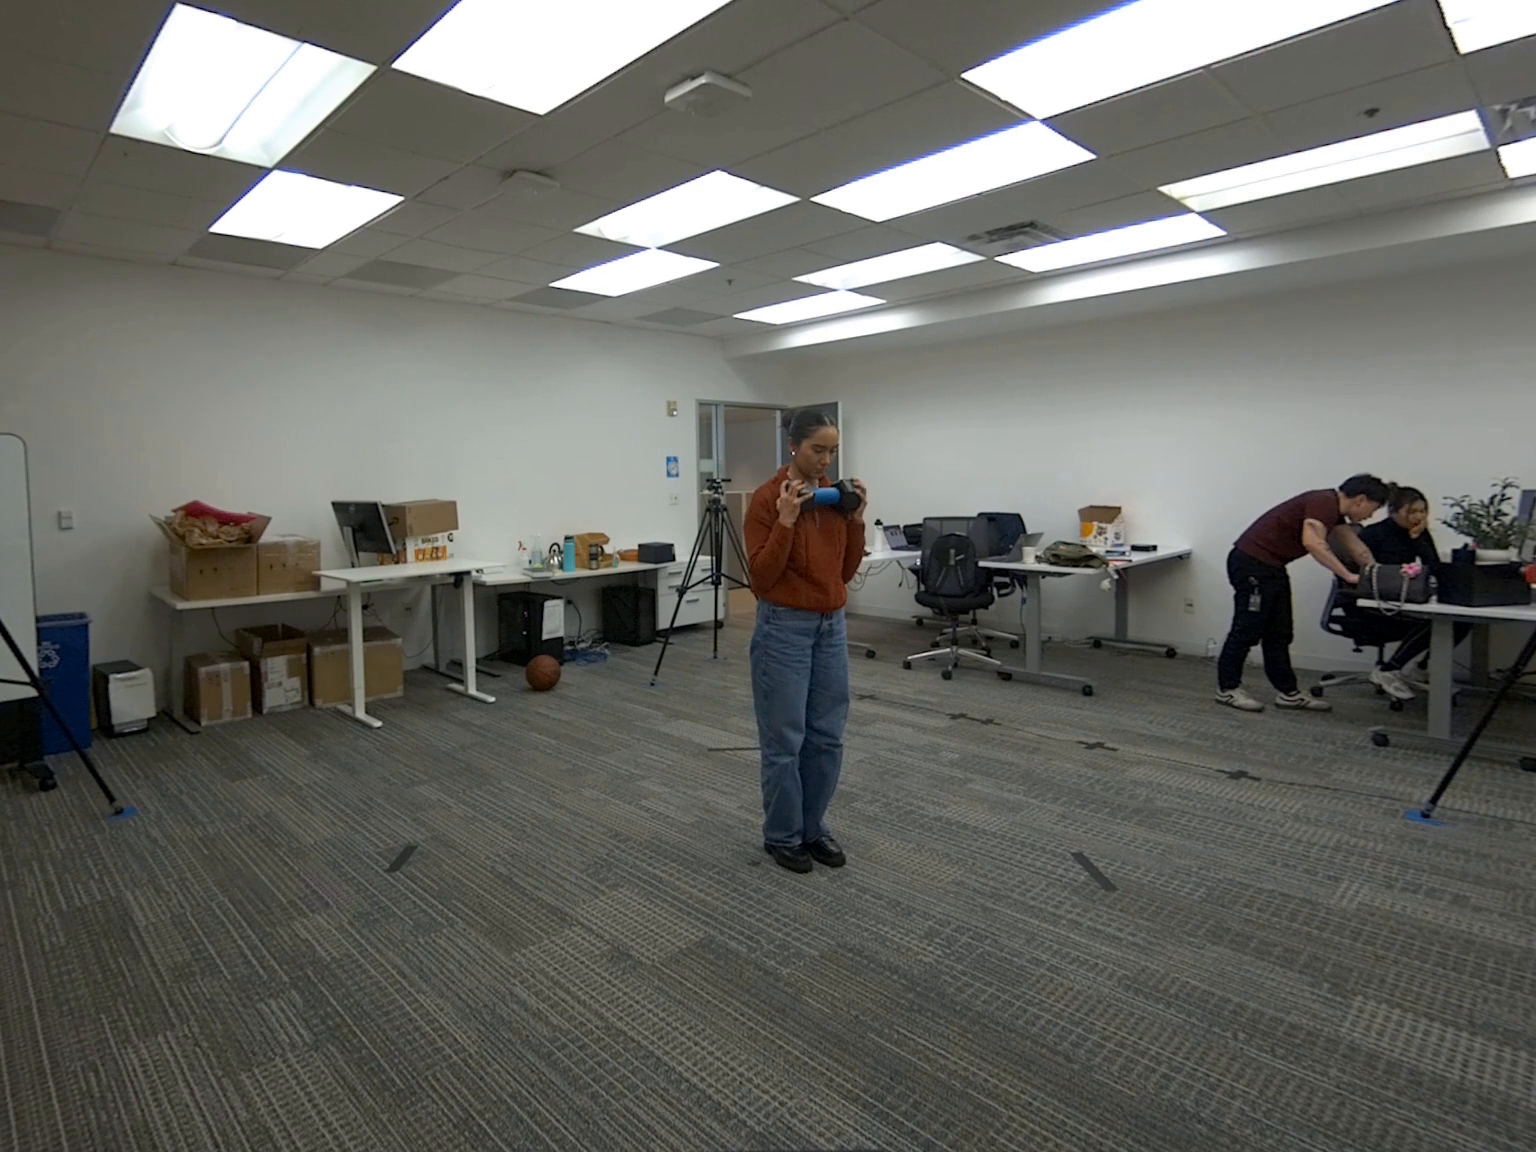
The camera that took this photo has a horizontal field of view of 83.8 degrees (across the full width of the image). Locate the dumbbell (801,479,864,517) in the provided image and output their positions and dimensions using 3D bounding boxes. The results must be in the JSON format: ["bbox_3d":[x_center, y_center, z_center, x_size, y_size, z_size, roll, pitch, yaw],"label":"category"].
[{"bbox_3d":[0.186,-0.270,2.996,0.286,0.121,0.113,-2,32,-30],"label":"dumbbell"}]
